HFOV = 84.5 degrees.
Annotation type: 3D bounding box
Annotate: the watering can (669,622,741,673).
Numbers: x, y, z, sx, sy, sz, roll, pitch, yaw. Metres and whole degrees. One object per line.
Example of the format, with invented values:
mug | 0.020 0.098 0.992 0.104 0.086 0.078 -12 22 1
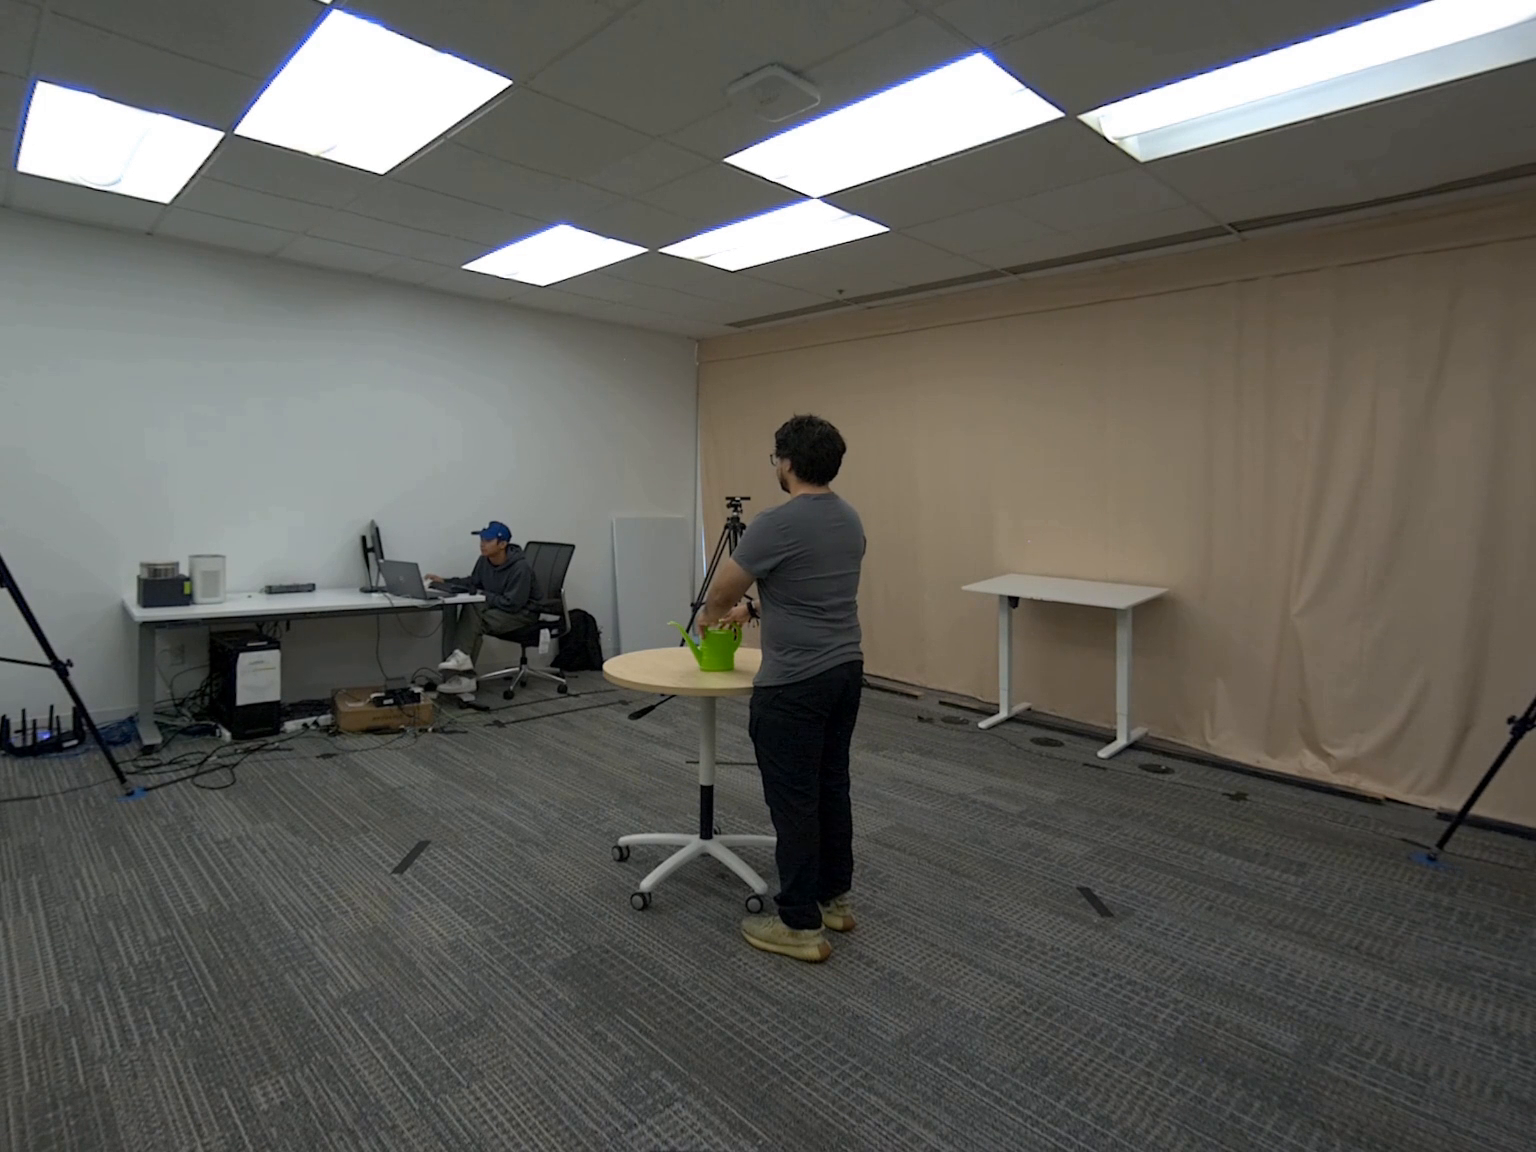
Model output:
watering can | -0.228 0.245 2.987 0.275 0.176 0.099 2 3 -12
